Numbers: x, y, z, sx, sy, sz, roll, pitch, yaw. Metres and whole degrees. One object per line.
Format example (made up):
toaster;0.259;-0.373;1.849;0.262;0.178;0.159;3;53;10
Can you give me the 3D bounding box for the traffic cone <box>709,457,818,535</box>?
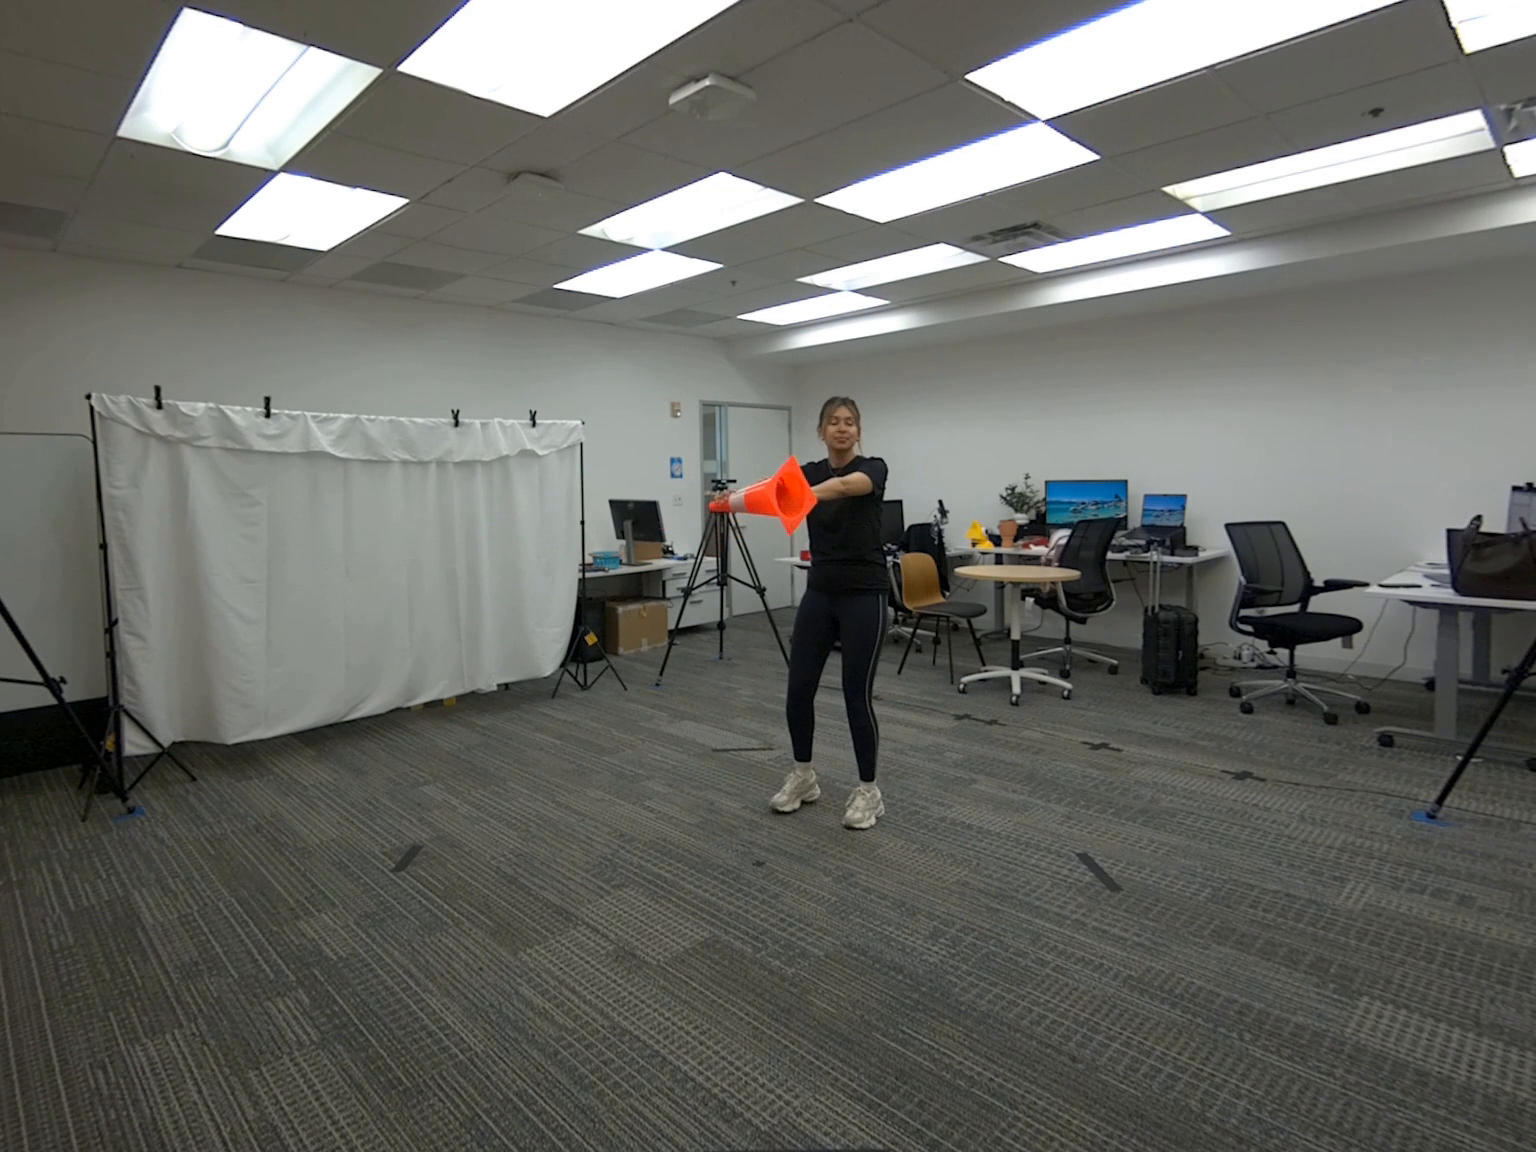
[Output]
traffic cone;-0.066;-0.262;2.994;0.394;0.199;0.203;-3;35;44
